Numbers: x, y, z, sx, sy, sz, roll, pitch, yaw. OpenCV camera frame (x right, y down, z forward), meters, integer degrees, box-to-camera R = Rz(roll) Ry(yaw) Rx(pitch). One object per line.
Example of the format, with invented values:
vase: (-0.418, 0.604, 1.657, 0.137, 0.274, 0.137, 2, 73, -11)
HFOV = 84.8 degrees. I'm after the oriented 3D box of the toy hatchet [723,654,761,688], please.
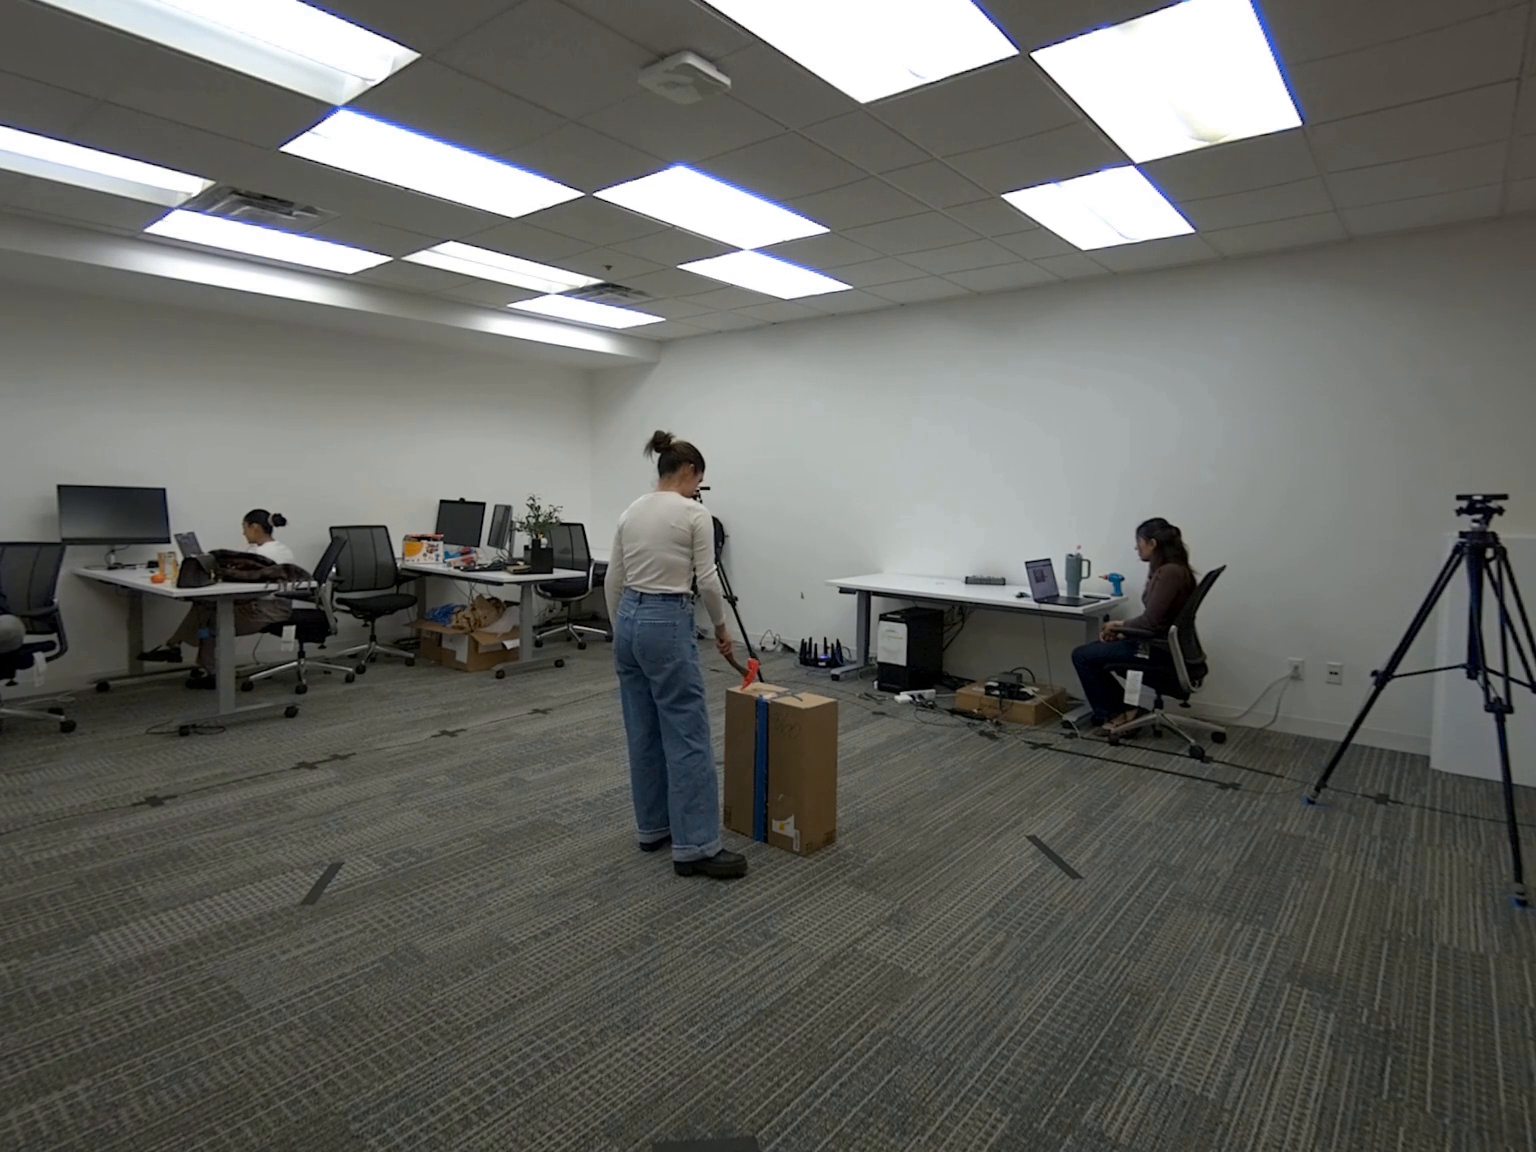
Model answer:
toy hatchet: (-0.111, 0.323, 3.441, 0.031, 0.260, 0.131, 16, 53, 47)
